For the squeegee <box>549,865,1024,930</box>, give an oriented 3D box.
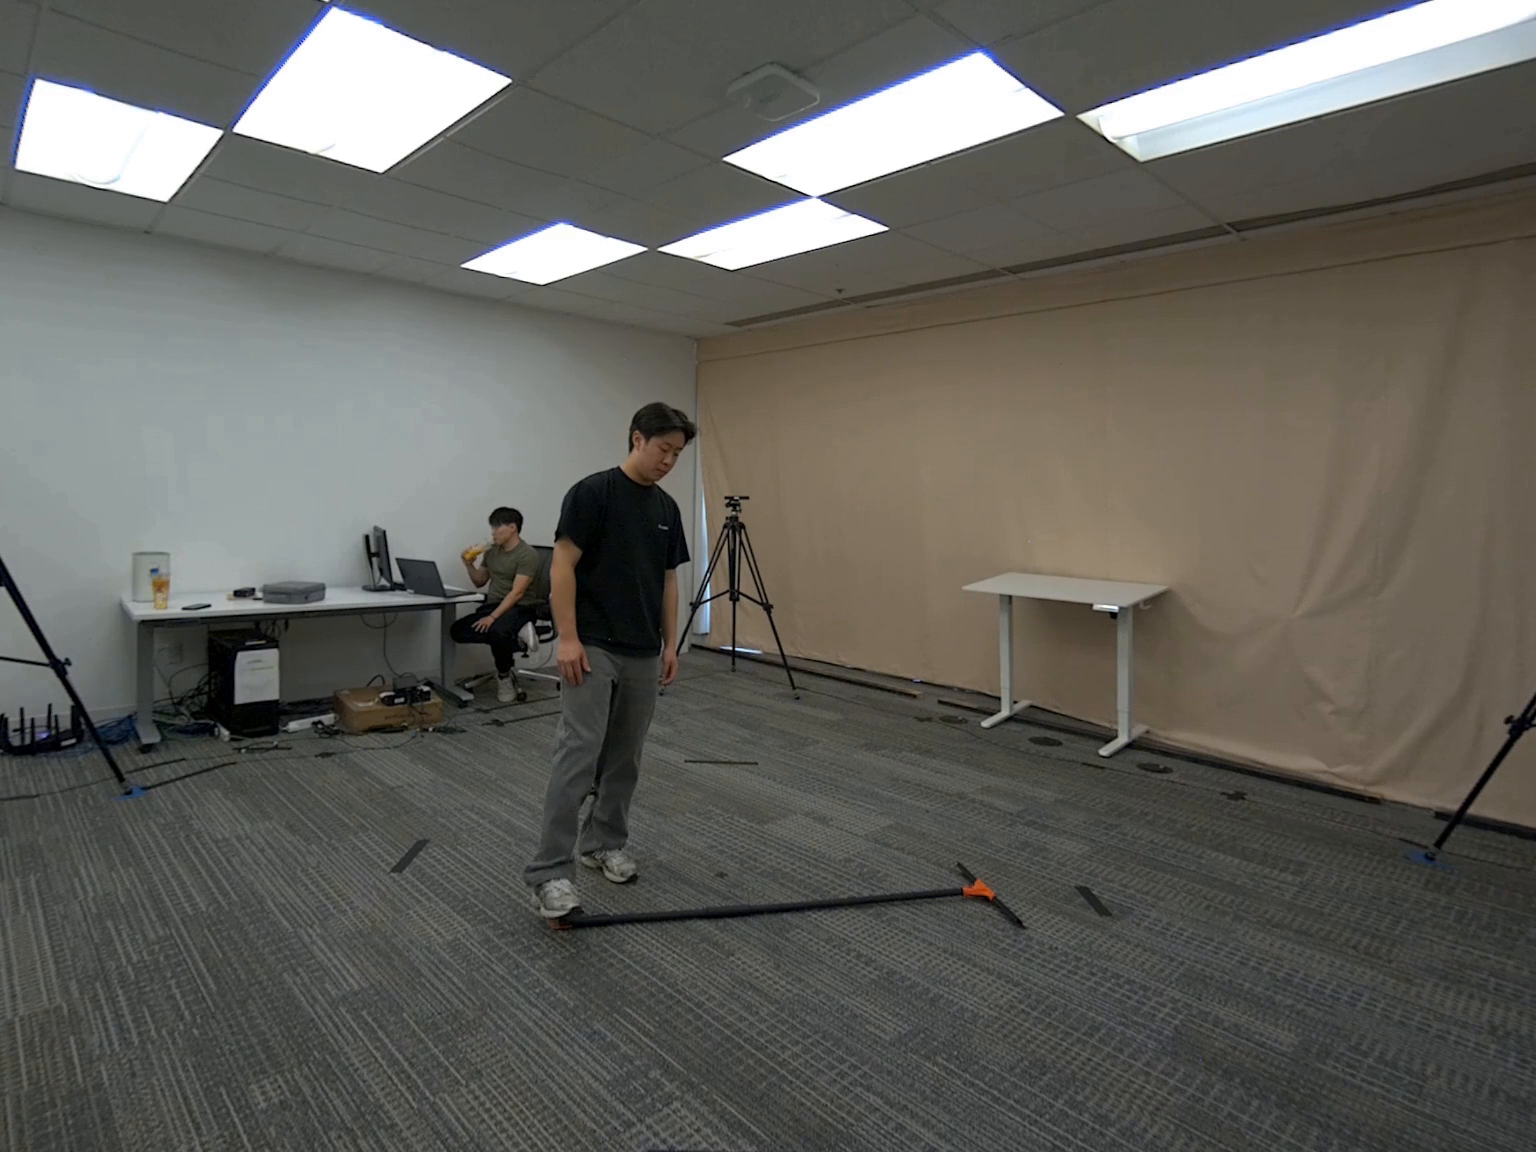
[{"bbox_3d":[0.037,1.083,2.829,1.522,0.053,0.443,1,4,-12],"label":"squeegee"}]
